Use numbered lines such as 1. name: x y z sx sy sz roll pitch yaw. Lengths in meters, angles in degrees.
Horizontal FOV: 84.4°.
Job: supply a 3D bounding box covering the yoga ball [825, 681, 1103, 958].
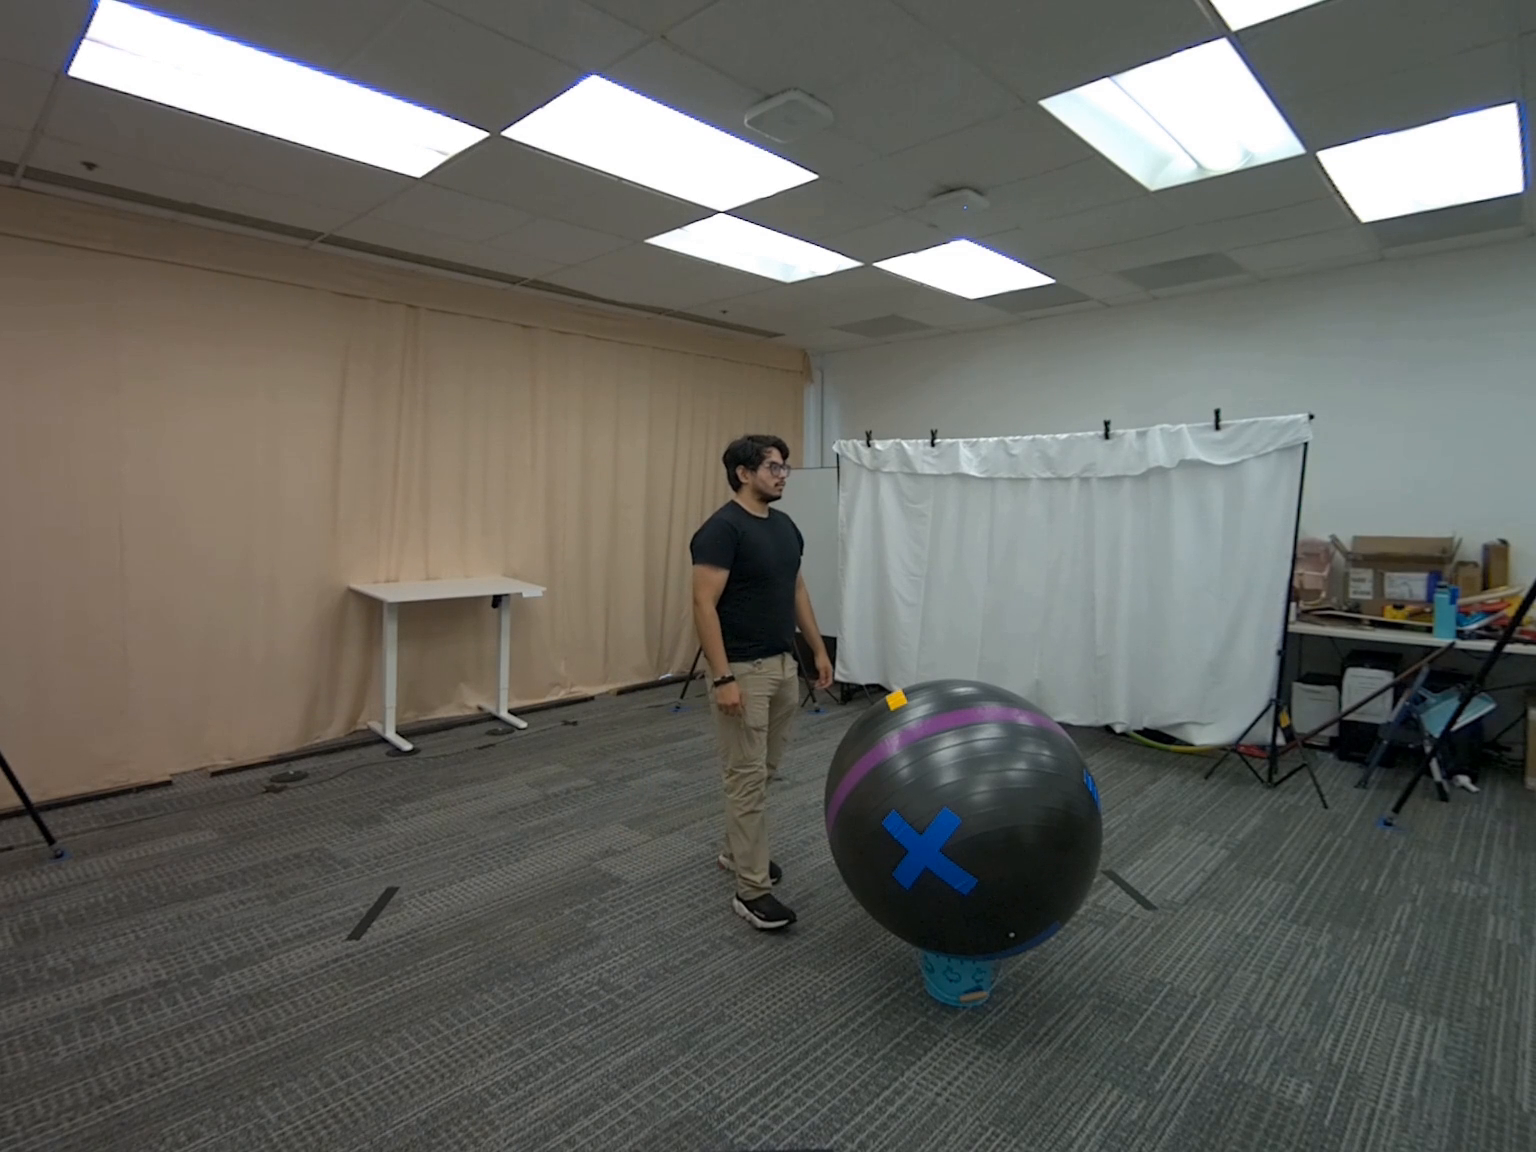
1. yoga ball: 0.546 0.681 2.408 0.757 0.756 0.760 0 4 -2
